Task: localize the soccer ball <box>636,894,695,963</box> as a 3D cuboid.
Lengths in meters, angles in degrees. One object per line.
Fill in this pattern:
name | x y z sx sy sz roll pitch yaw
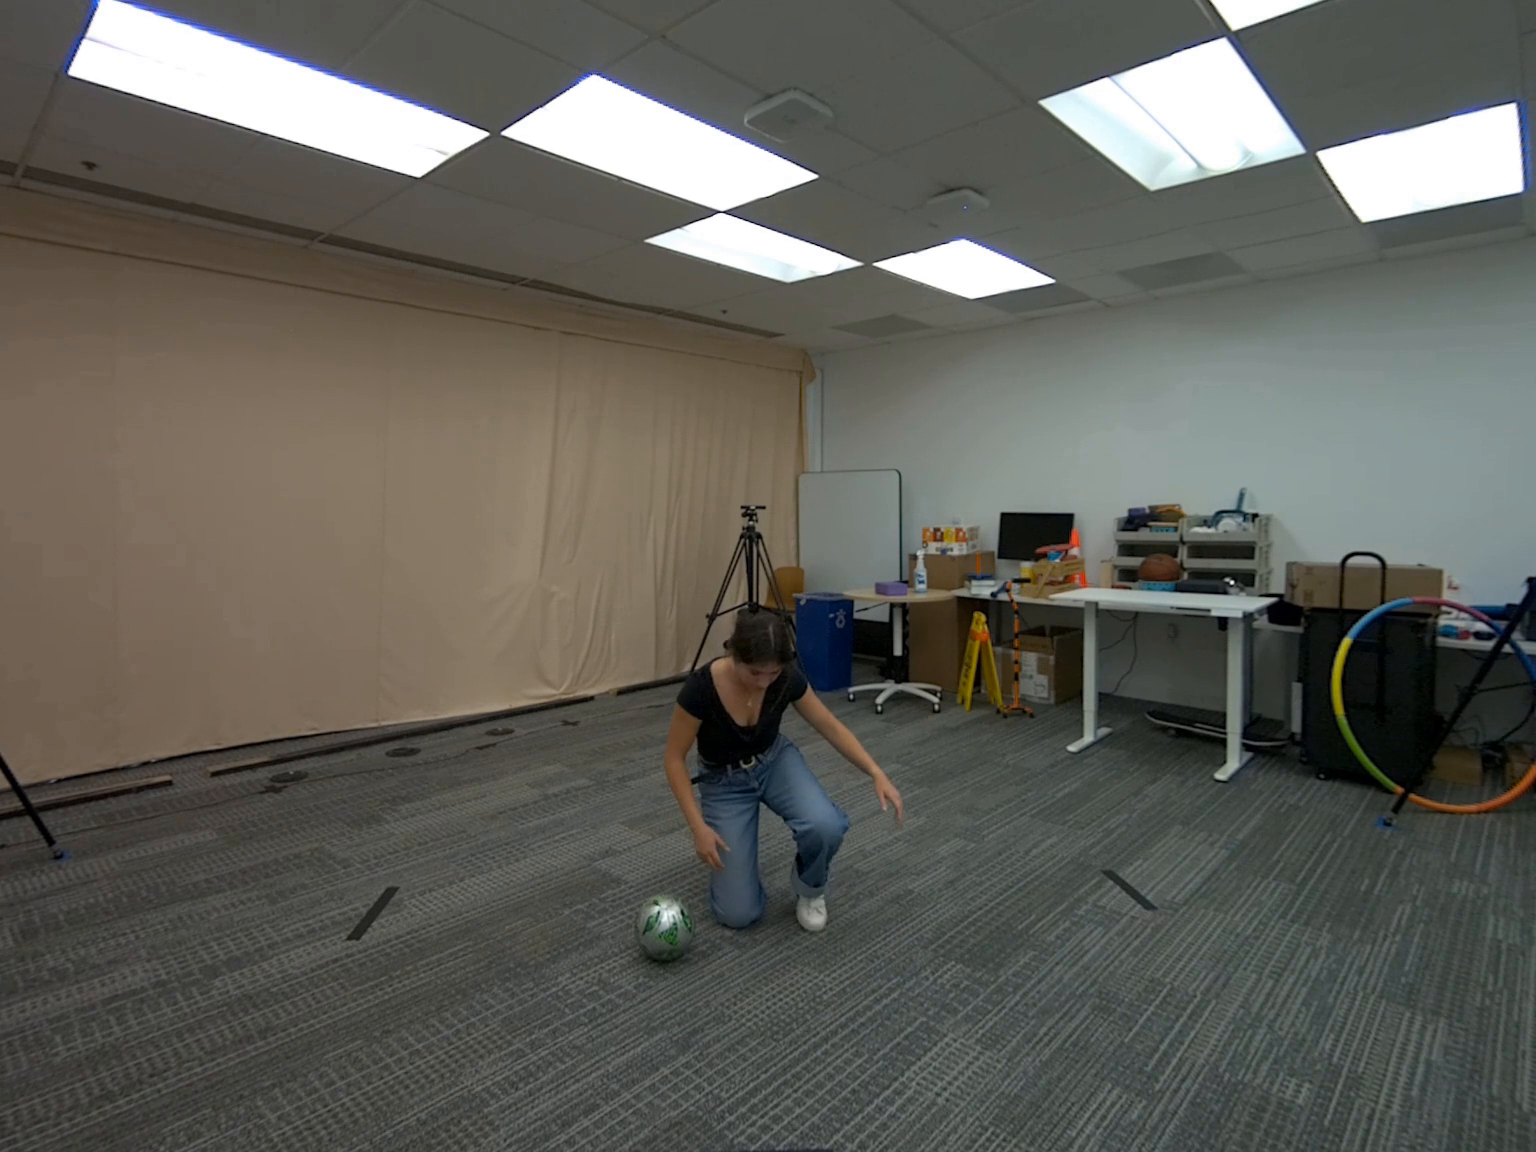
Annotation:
soccer ball | -0.312 1.086 2.599 0.187 0.187 0.188 0 4 -2
